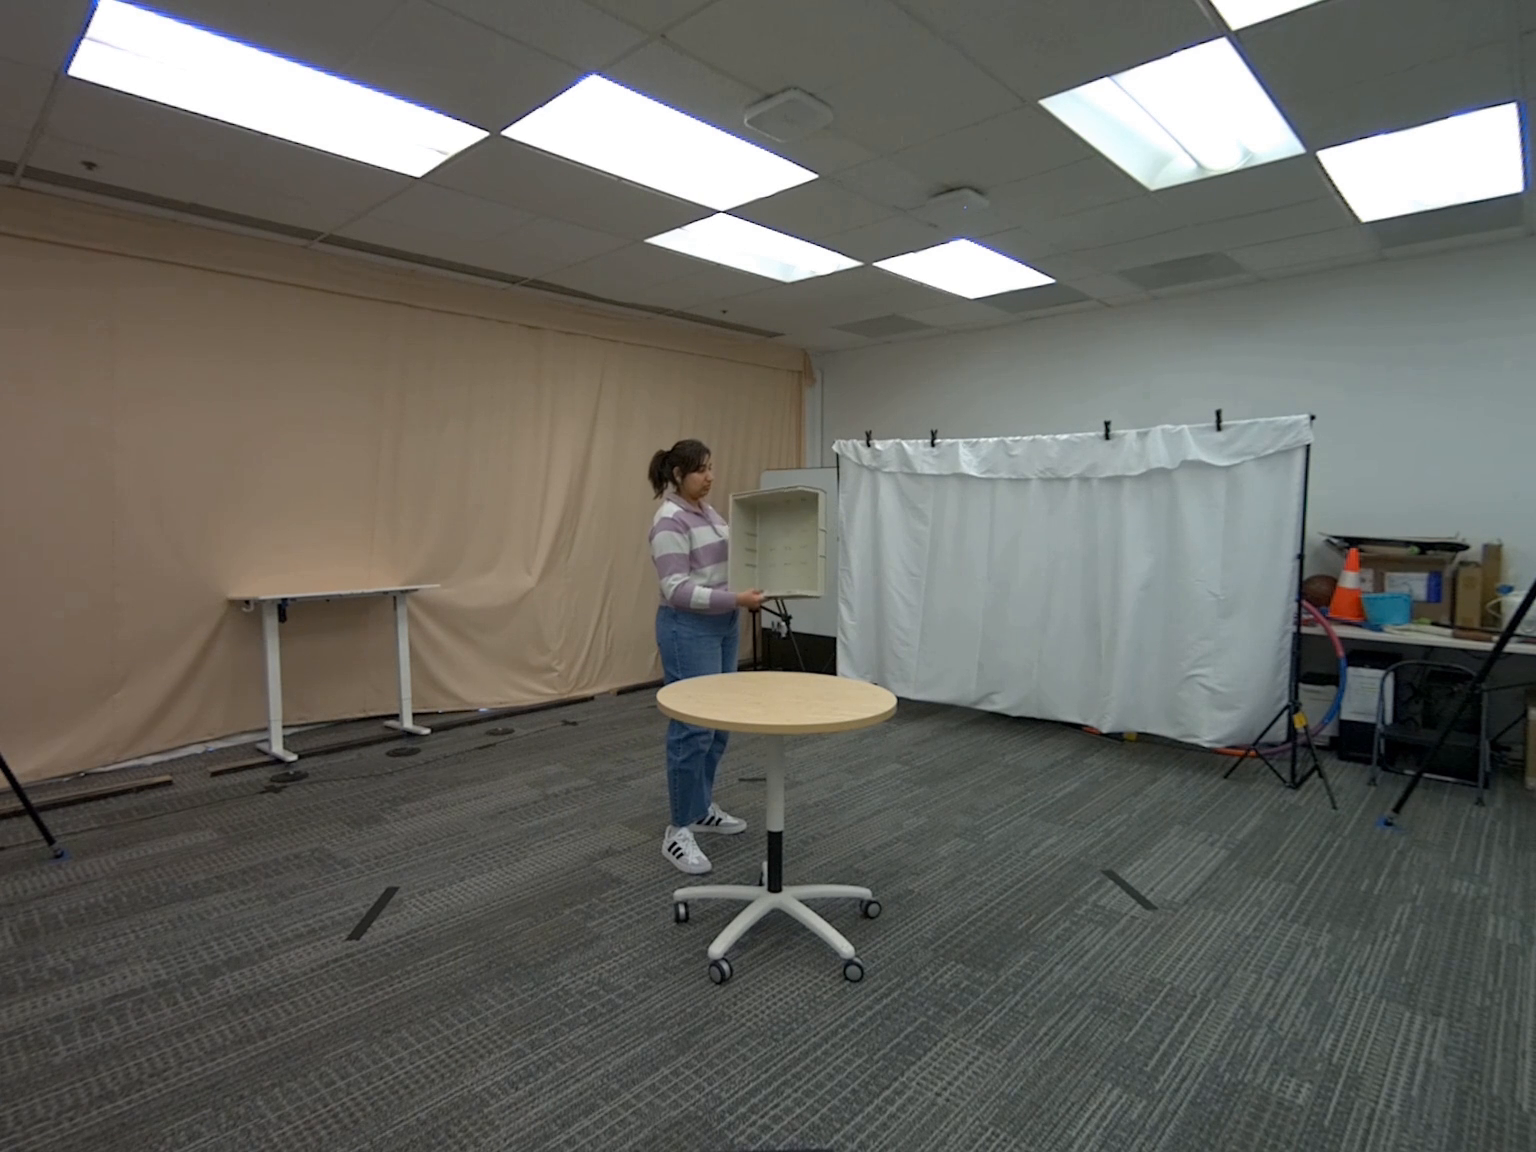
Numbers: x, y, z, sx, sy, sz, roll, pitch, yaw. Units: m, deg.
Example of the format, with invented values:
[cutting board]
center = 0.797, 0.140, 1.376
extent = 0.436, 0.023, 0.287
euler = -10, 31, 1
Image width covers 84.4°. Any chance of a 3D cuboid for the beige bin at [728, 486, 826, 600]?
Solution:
[beige bin]
center = 0.052, -0.120, 3.318
extent = 0.388, 0.424, 0.182
euler = -5, -10, 39
